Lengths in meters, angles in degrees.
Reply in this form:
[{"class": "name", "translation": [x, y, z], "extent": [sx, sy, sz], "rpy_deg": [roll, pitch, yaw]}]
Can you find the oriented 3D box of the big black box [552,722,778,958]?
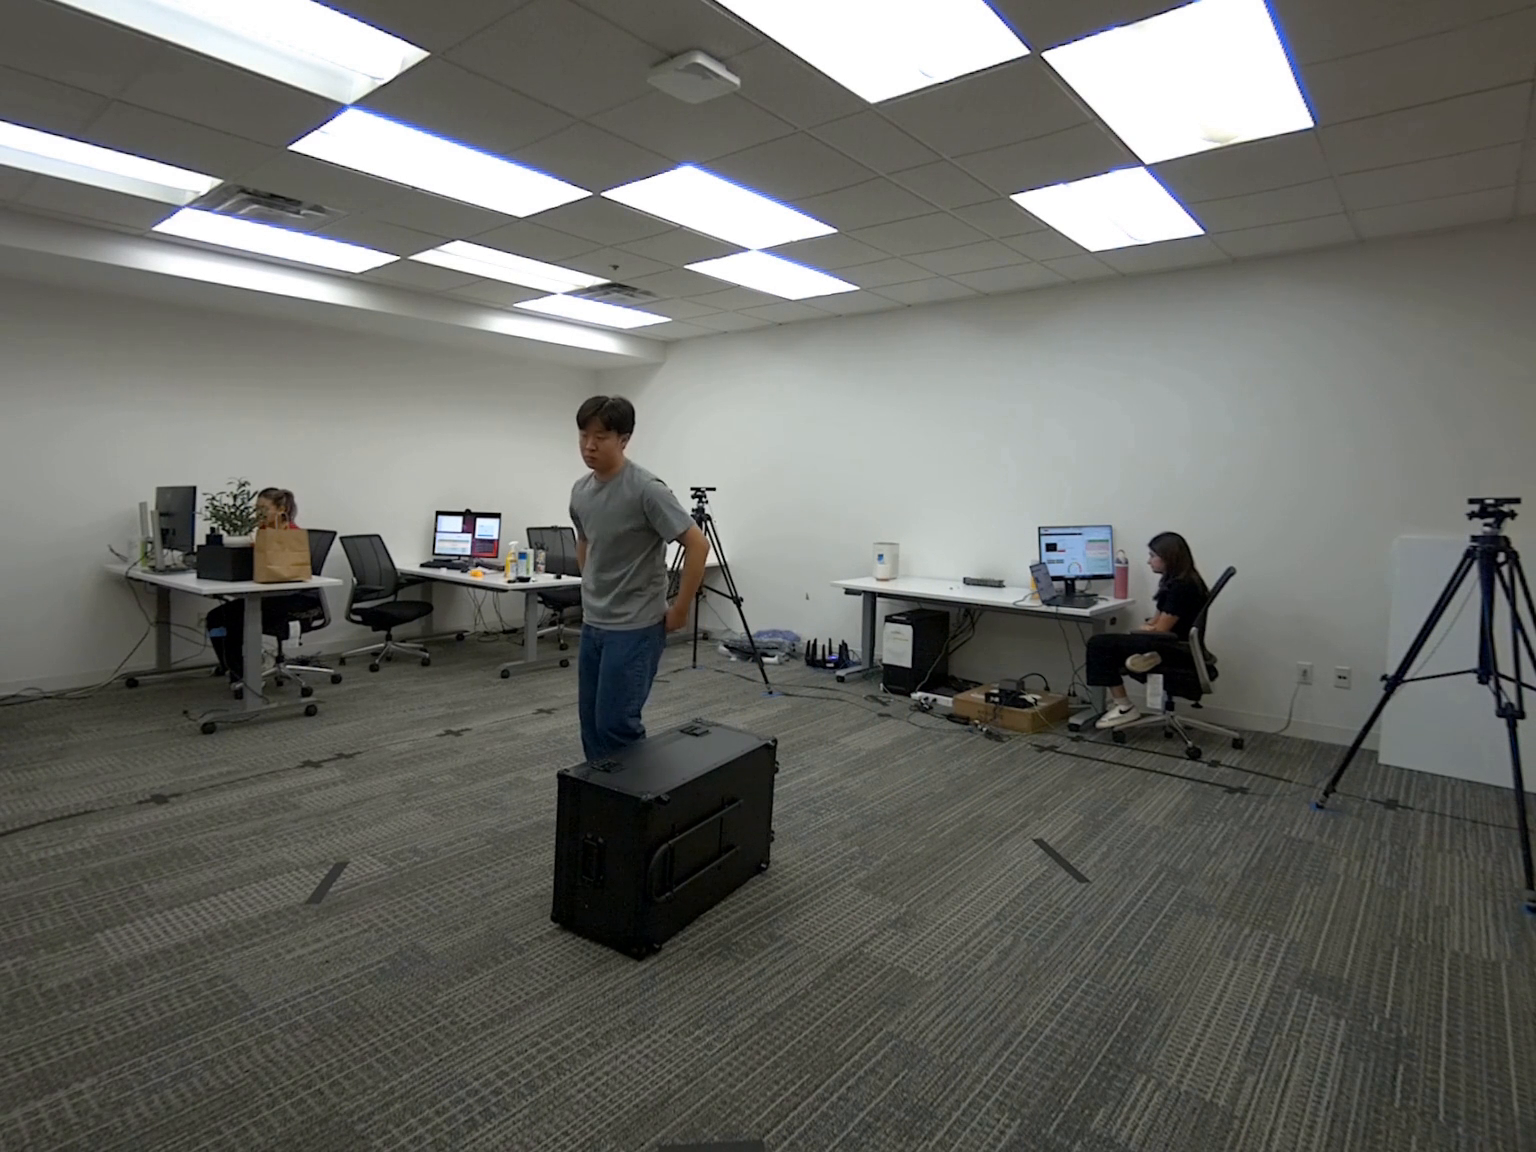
[{"class": "big black box", "translation": [-0.303, 0.826, 2.900], "extent": [0.408, 0.519, 0.839], "rpy_deg": [6, 6, 29]}]
